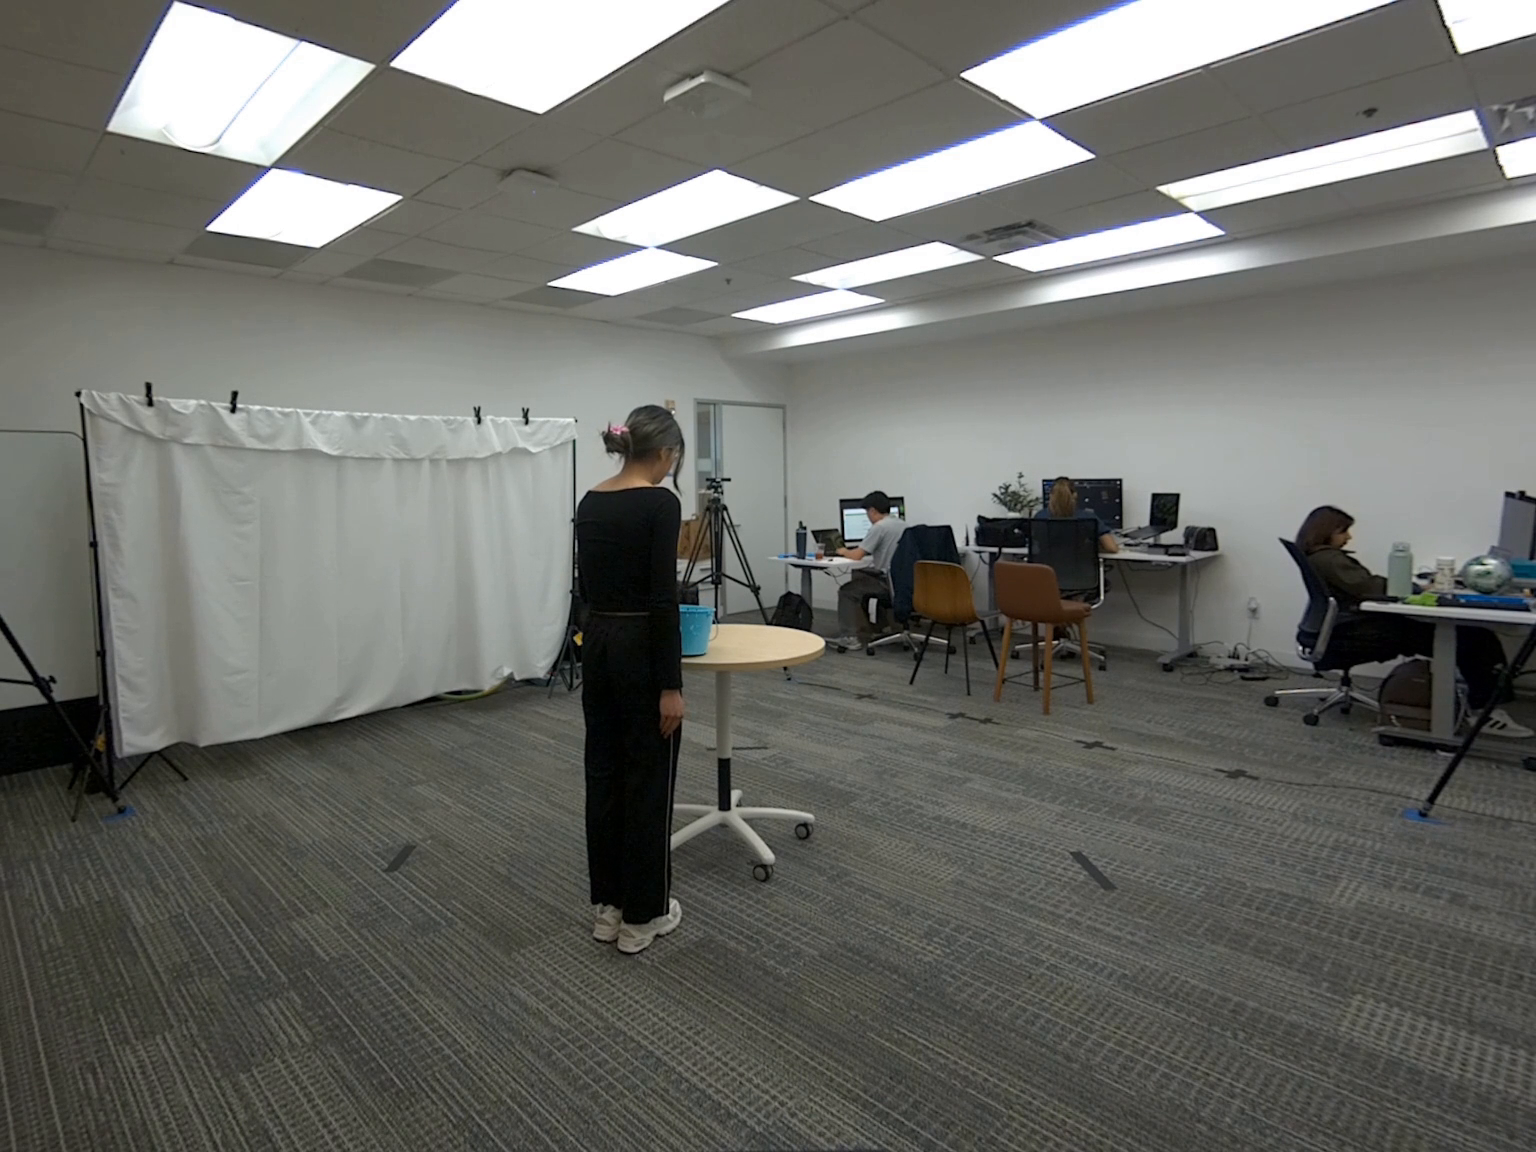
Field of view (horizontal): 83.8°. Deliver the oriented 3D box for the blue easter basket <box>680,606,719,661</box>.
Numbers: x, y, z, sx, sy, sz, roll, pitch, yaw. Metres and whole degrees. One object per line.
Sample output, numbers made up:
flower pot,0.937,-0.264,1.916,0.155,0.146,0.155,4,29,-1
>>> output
blue easter basket,-0.298,0.194,2.988,0.243,0.156,0.244,2,2,-2
